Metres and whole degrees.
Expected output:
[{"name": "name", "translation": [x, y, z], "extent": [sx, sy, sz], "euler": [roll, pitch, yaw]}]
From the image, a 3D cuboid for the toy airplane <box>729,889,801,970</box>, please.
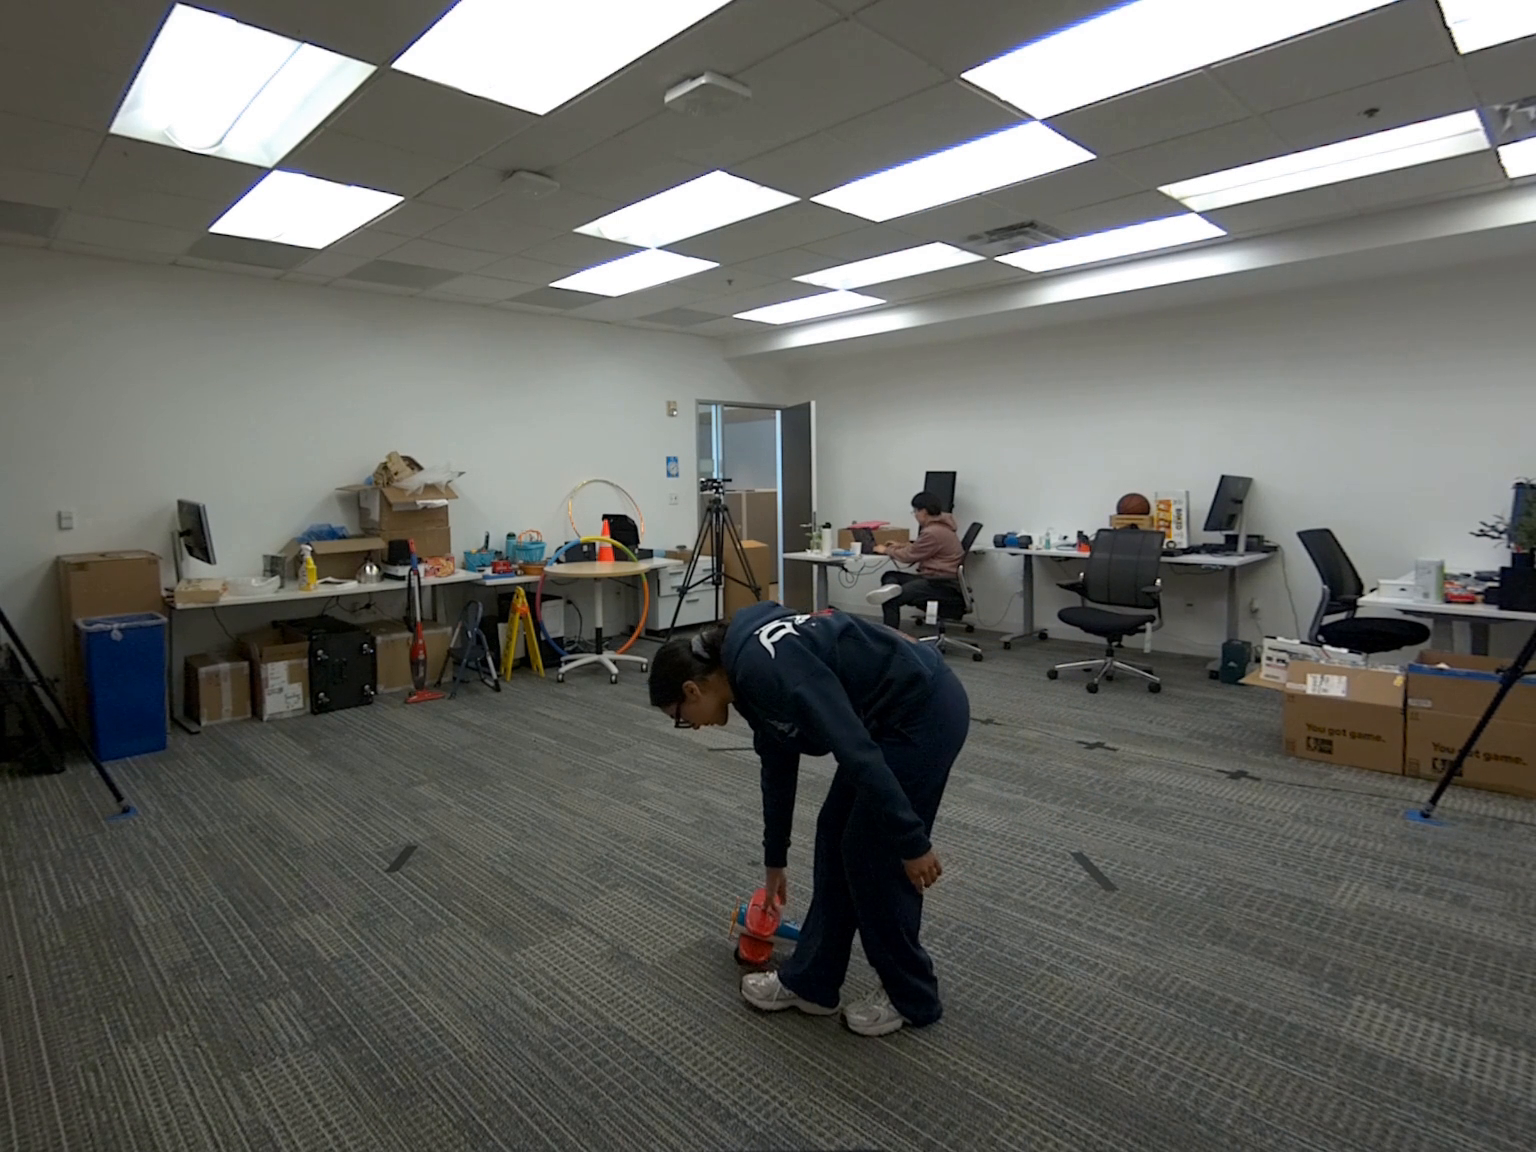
[{"name": "toy airplane", "translation": [0.025, 1.040, 2.514], "extent": [0.255, 0.155, 0.256], "euler": [-4, 7, -18]}]
